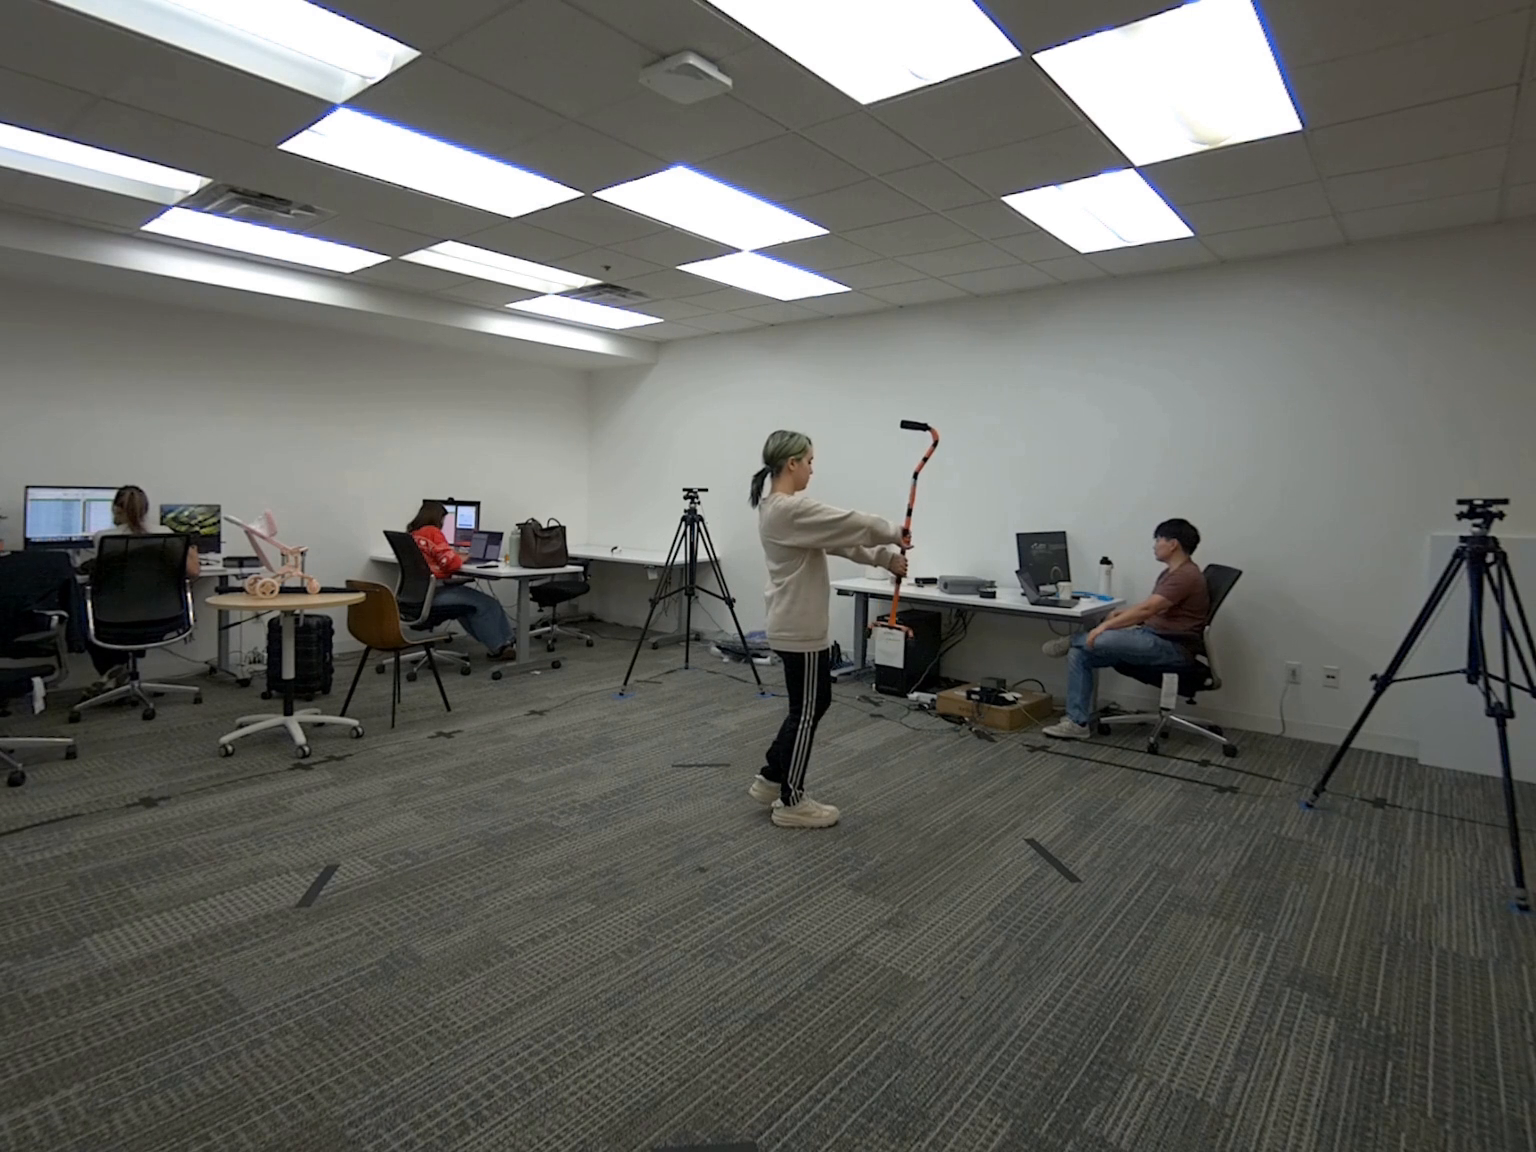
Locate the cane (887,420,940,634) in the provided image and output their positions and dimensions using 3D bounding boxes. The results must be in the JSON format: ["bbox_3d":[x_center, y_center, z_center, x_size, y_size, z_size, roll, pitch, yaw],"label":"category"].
[{"bbox_3d":[0.581,-0.187,3.520,0.209,0.907,0.150,8,2,8],"label":"cane"}]
